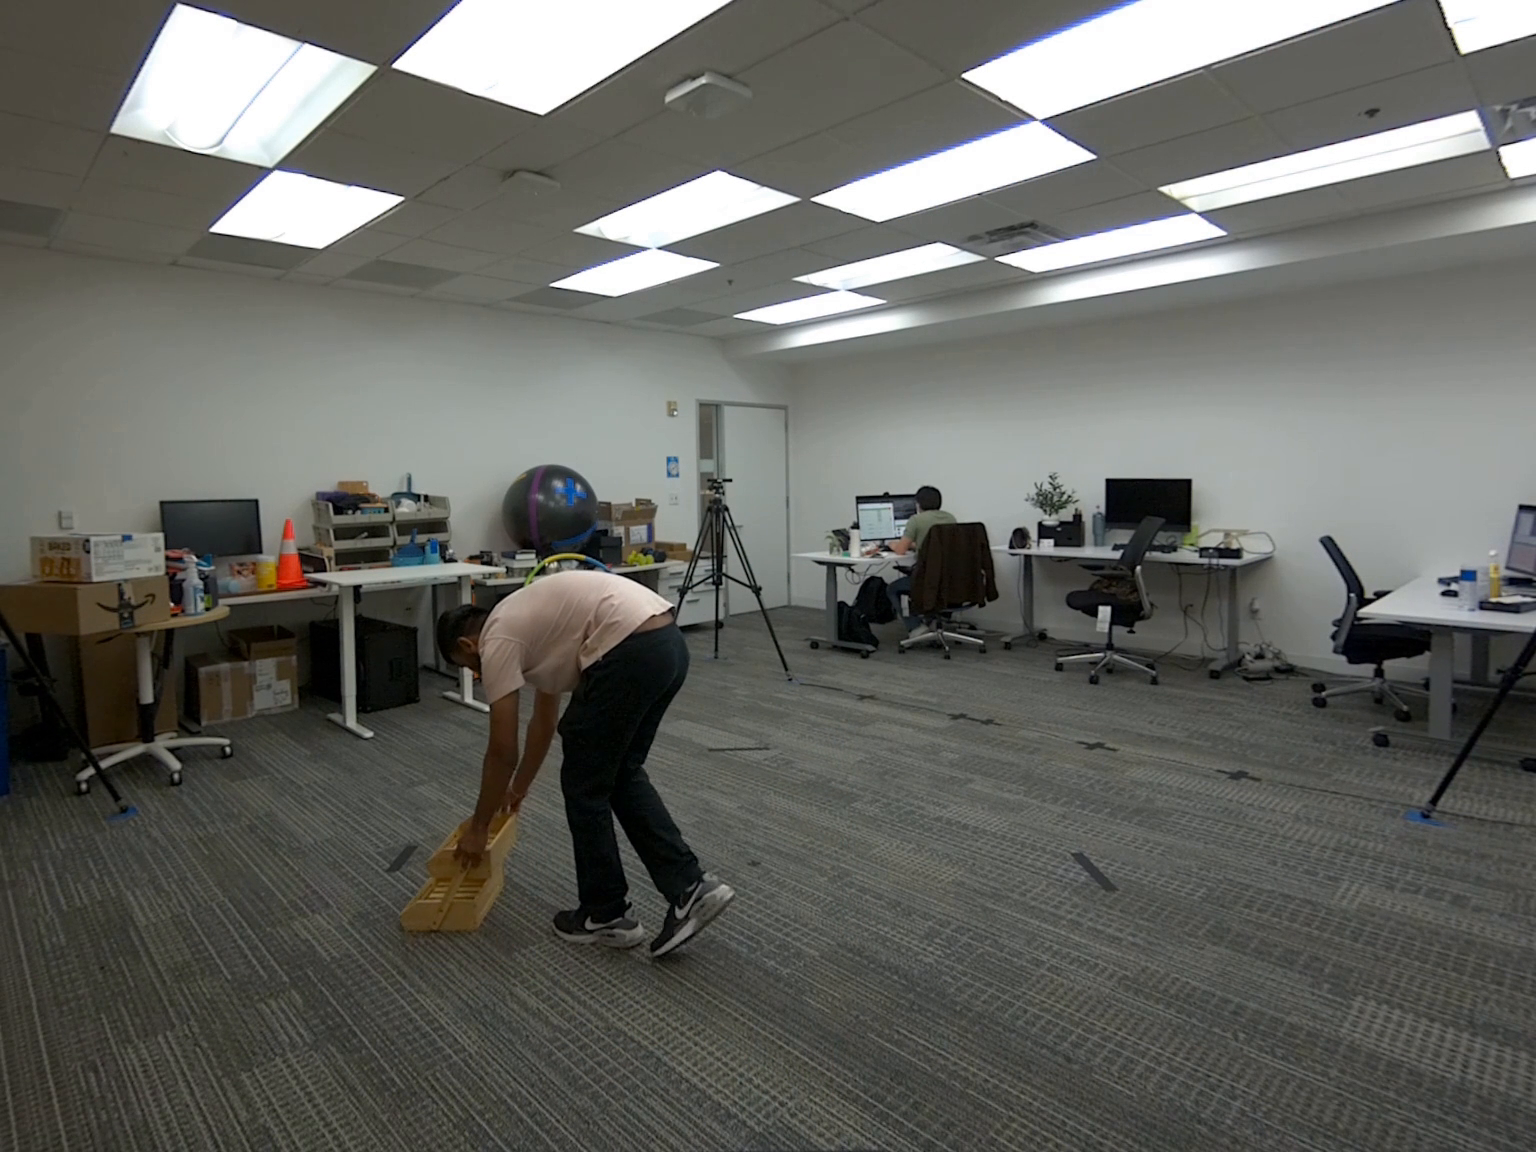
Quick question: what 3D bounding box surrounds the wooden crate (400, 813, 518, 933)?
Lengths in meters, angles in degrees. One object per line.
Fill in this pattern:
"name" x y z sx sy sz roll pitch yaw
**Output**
"wooden crate" -1.023 0.973 2.827 0.303 0.272 0.325 -4 5 2
